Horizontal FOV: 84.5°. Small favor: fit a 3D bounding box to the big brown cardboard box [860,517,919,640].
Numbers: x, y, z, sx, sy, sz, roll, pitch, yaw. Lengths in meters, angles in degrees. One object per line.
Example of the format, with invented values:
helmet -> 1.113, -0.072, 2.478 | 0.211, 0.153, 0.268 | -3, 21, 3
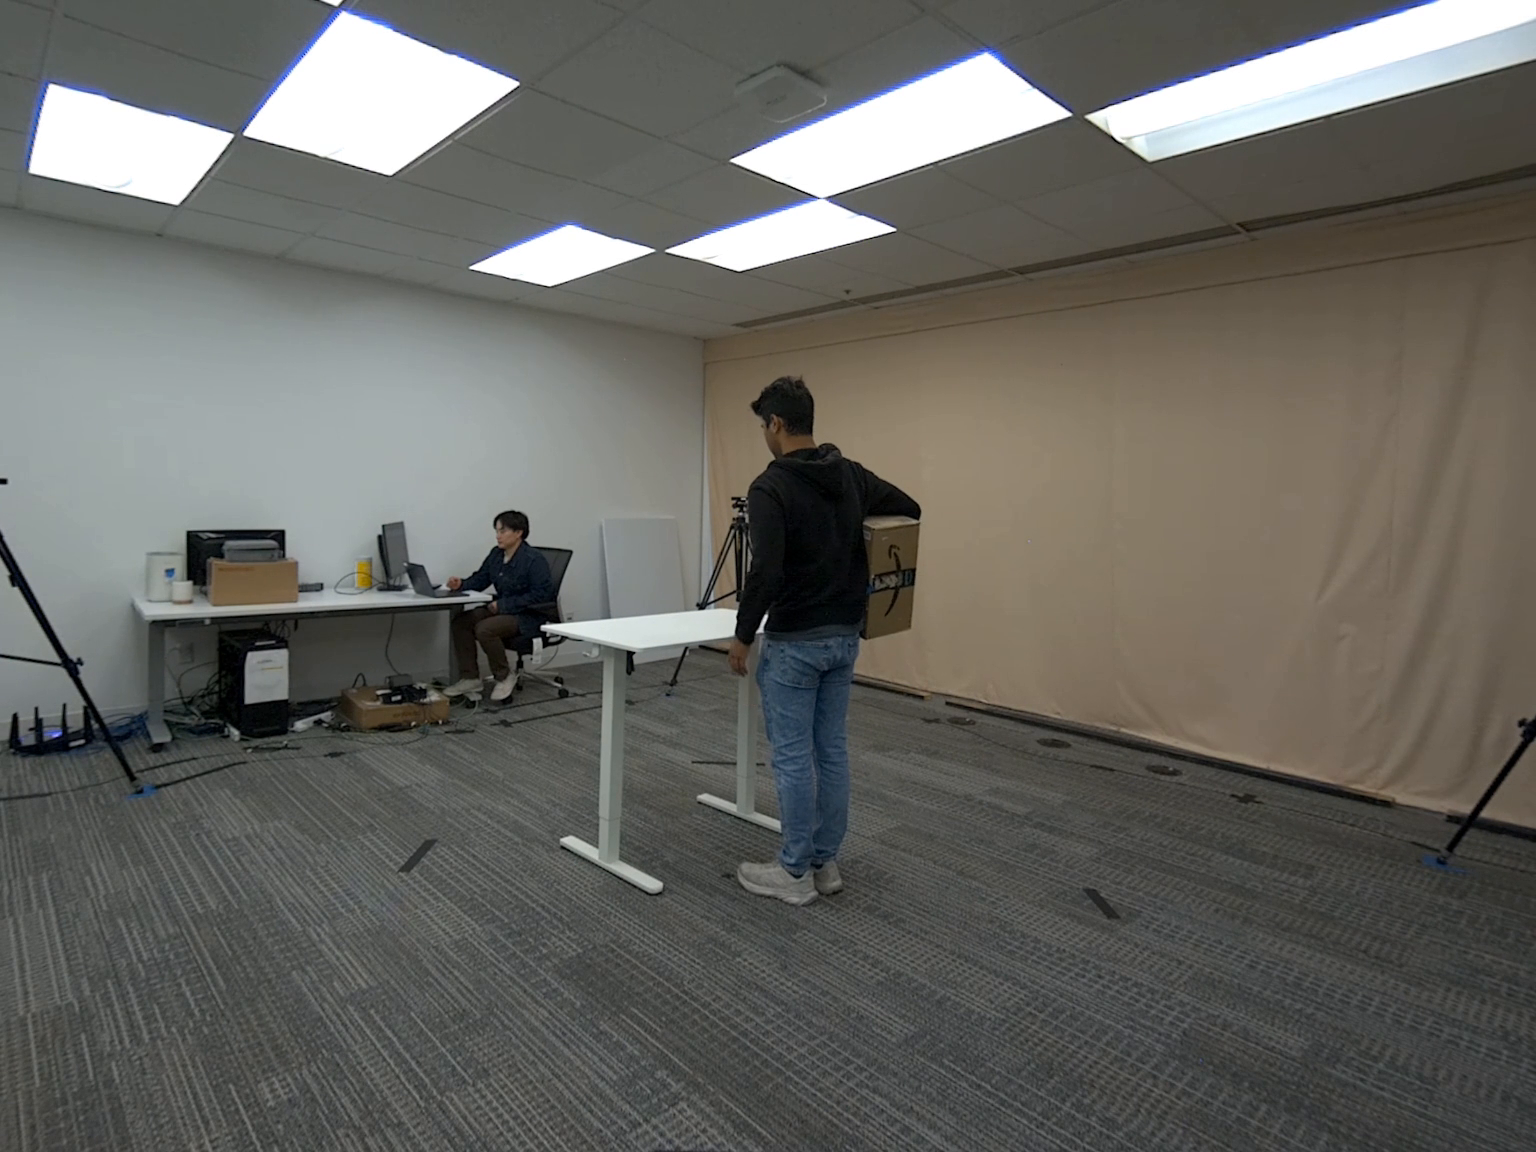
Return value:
big brown cardboard box -> 0.279, -0.059, 3.201 | 0.229, 0.412, 0.606 | -8, 20, -29
